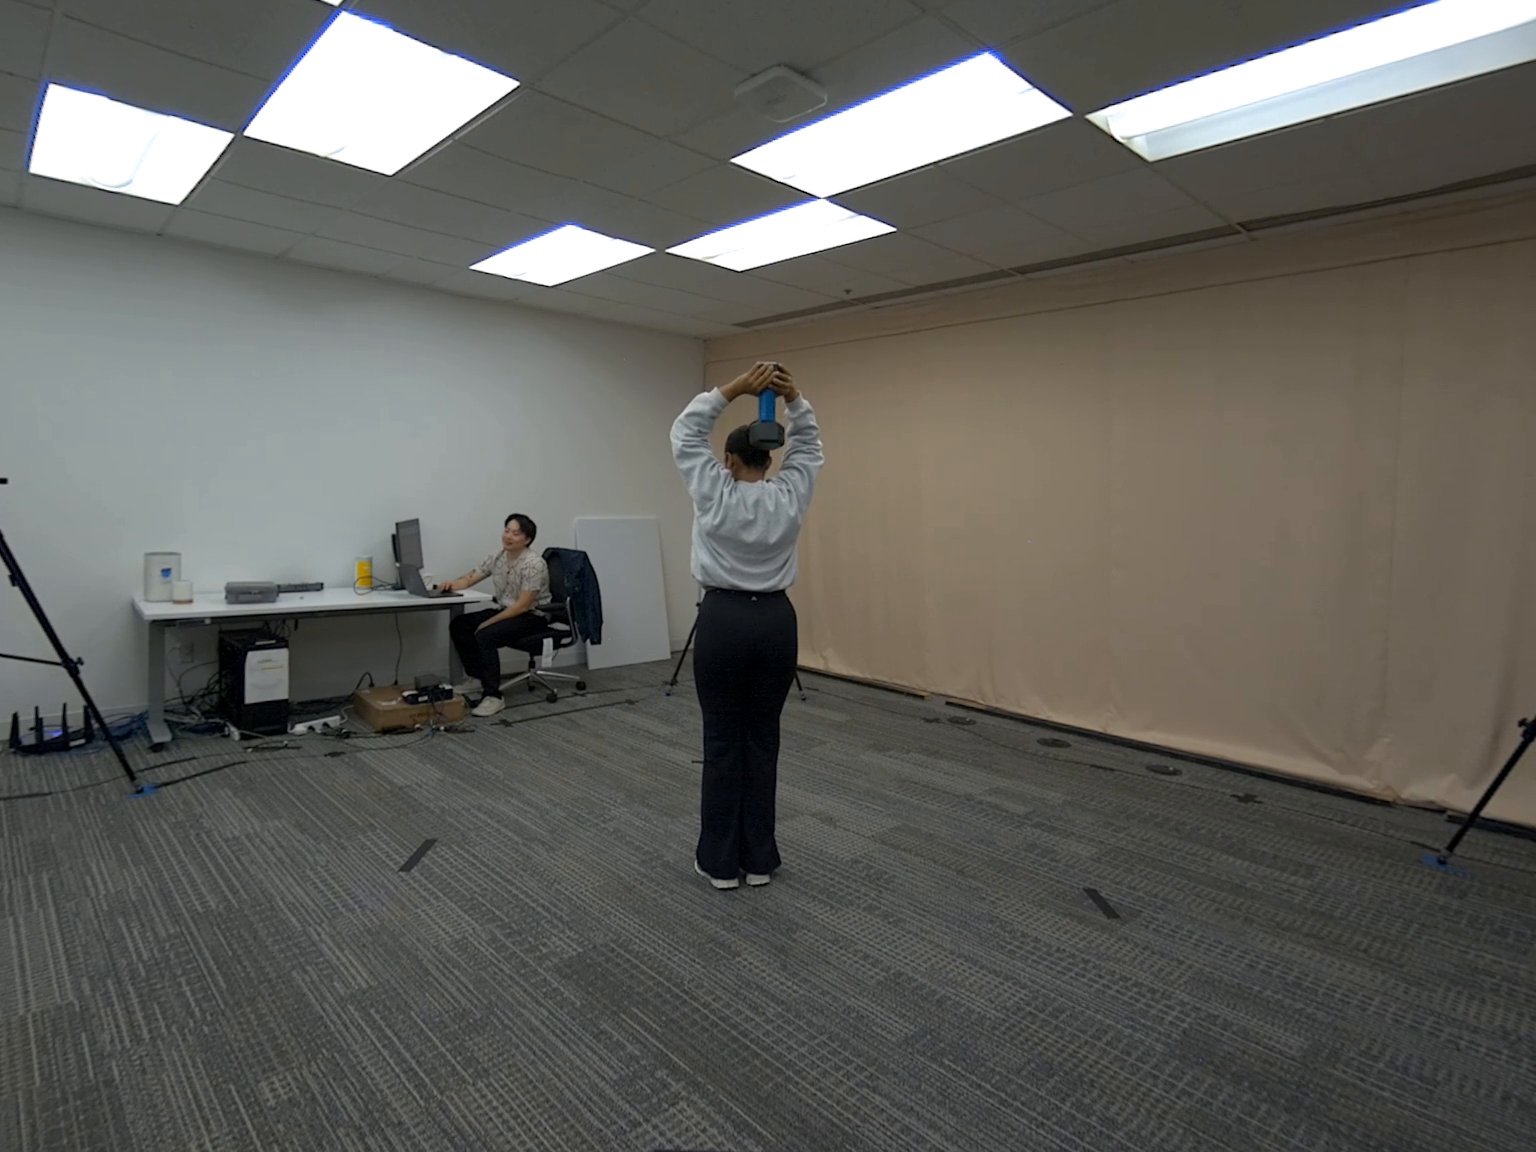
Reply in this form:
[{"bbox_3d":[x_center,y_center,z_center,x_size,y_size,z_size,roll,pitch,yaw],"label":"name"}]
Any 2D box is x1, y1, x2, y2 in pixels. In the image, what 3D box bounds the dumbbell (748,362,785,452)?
[{"bbox_3d":[-0.018,-0.589,2.933,0.111,0.296,0.120,-3,-12,26],"label":"dumbbell"}]
